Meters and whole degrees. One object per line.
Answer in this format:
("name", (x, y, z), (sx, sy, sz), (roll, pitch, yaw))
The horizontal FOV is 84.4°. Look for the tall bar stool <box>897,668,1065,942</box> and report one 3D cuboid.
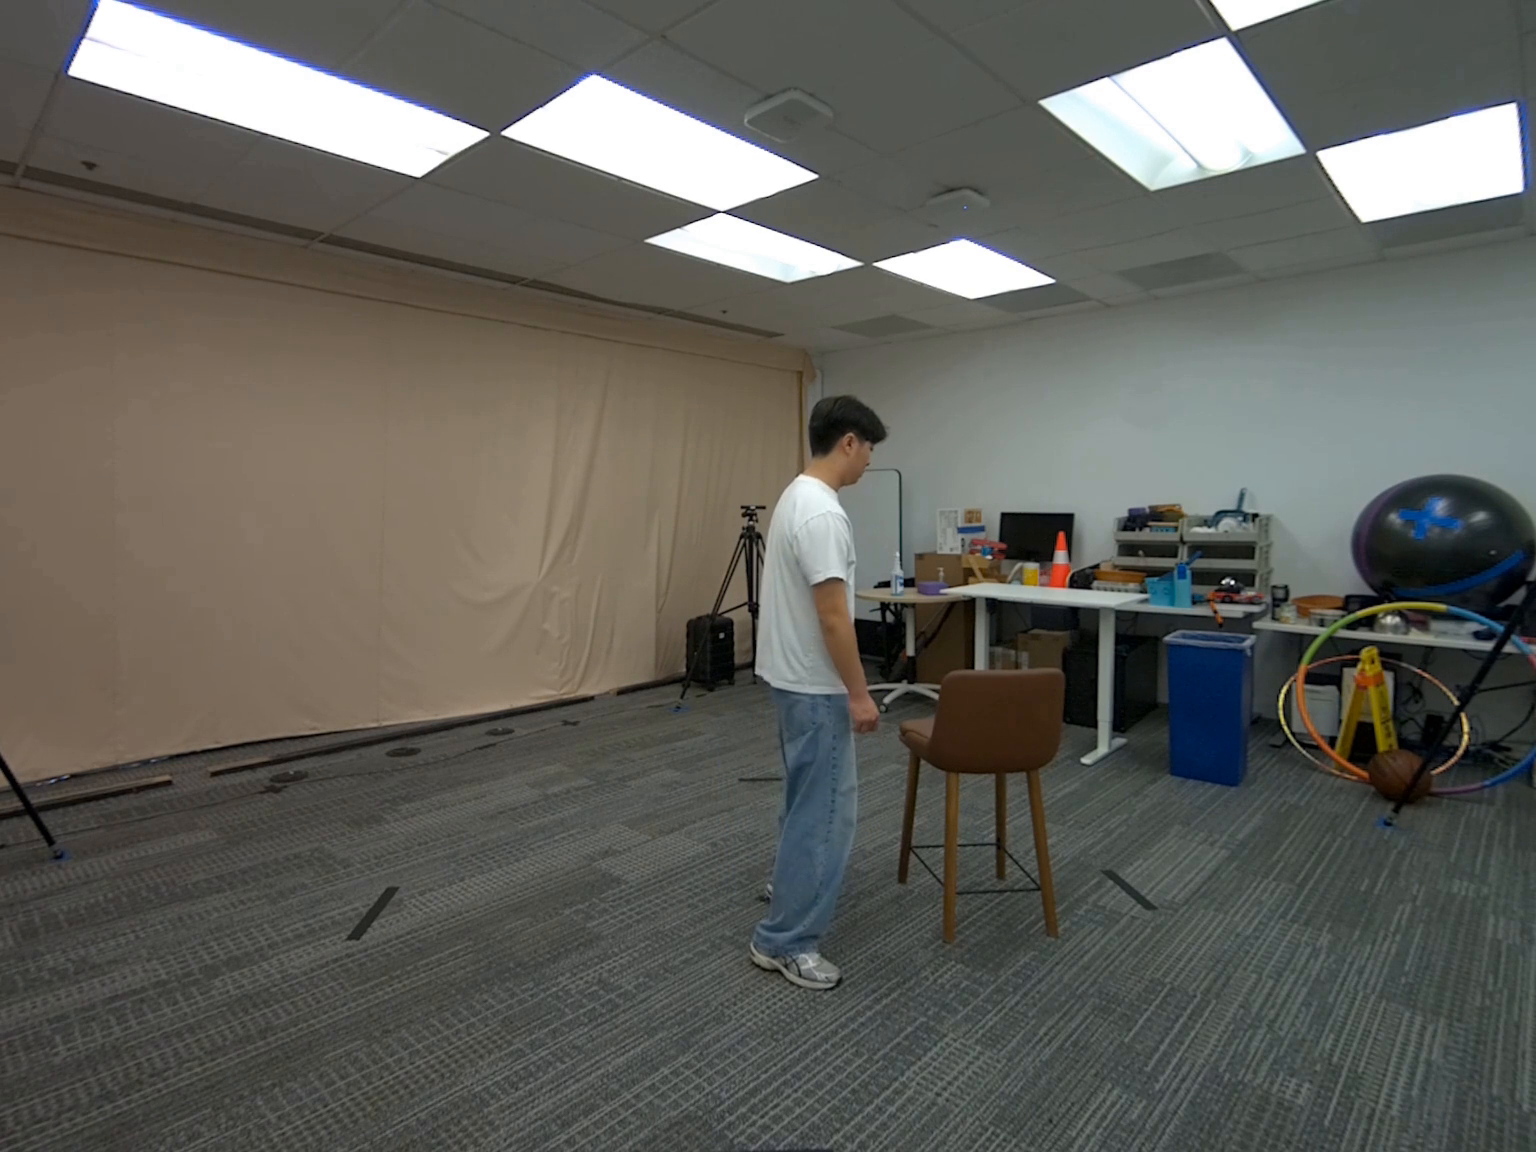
("tall bar stool", (0.725, 0.717, 2.884), (0.453, 0.887, 0.473), (0, 6, -8))
